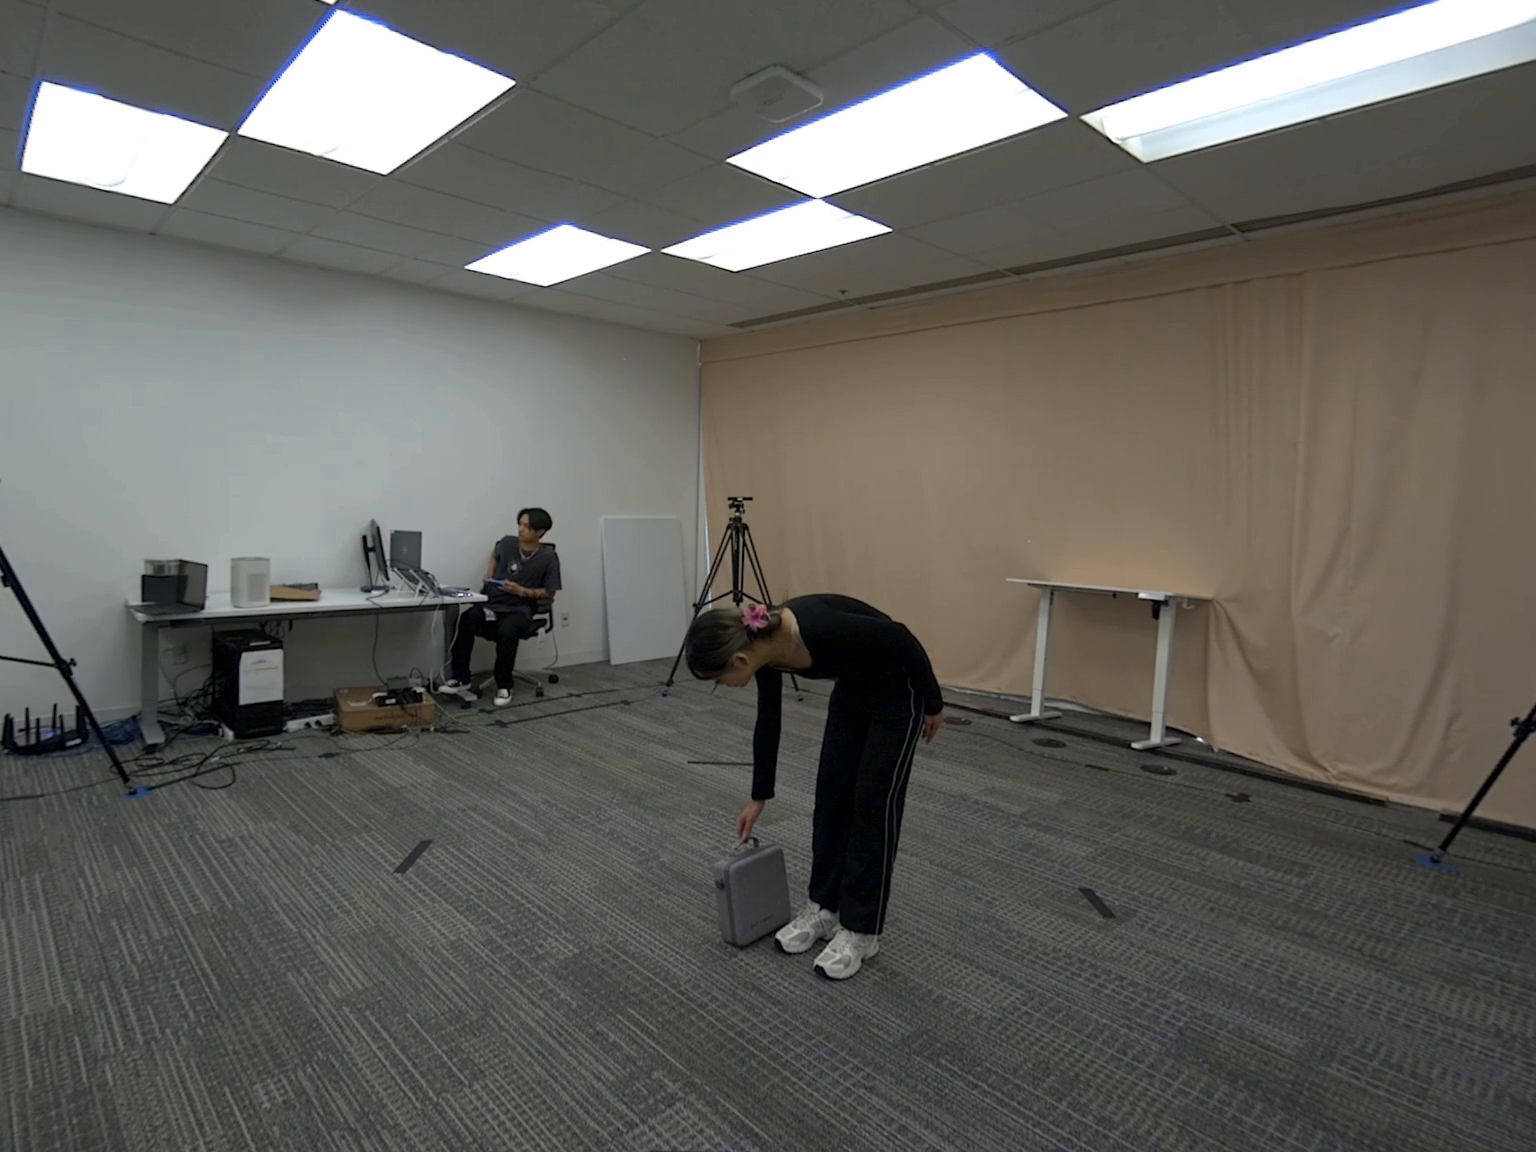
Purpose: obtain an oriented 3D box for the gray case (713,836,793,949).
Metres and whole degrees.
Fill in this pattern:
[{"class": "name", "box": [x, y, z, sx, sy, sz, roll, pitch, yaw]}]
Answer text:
[{"class": "gray case", "box": [-0.057, 1.009, 2.705, 0.106, 0.262, 0.251, -12, -6, 43]}]
